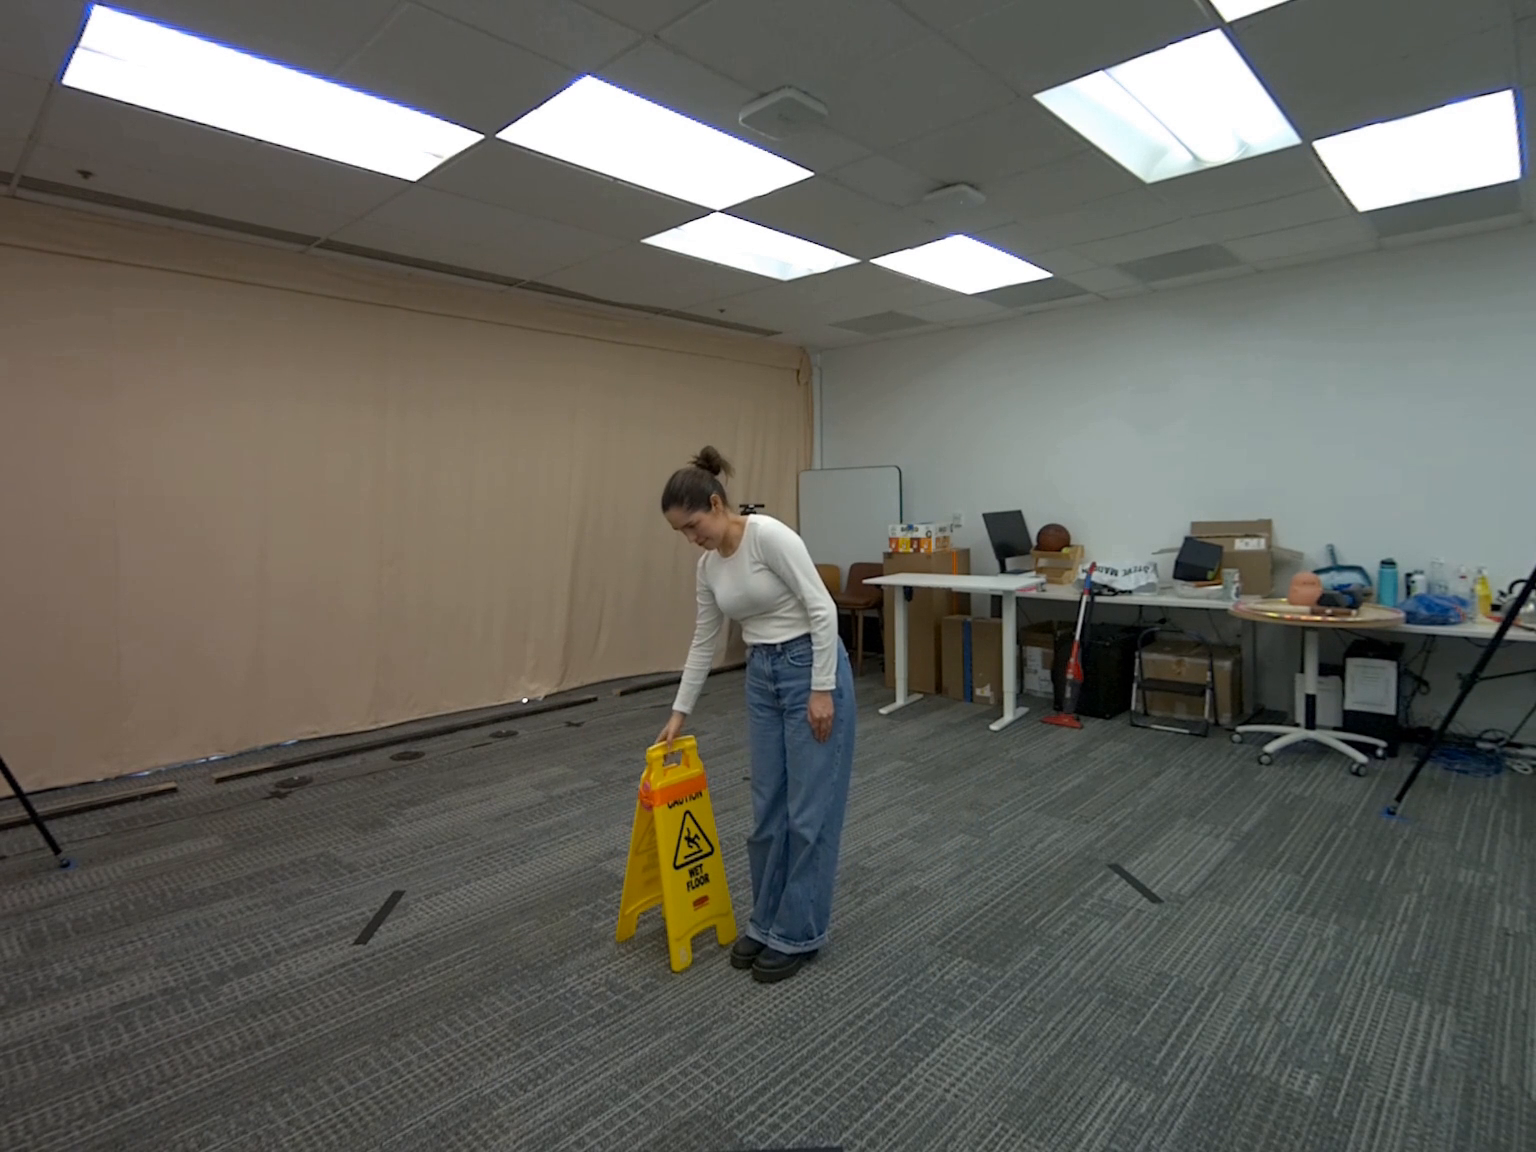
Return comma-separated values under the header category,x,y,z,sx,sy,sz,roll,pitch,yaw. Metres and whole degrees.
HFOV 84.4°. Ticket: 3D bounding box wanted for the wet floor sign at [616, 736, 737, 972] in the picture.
category,x,y,z,sx,sy,sz,roll,pitch,yaw
wet floor sign,-0.299,0.851,2.688,0.299,0.645,0.273,1,3,43
